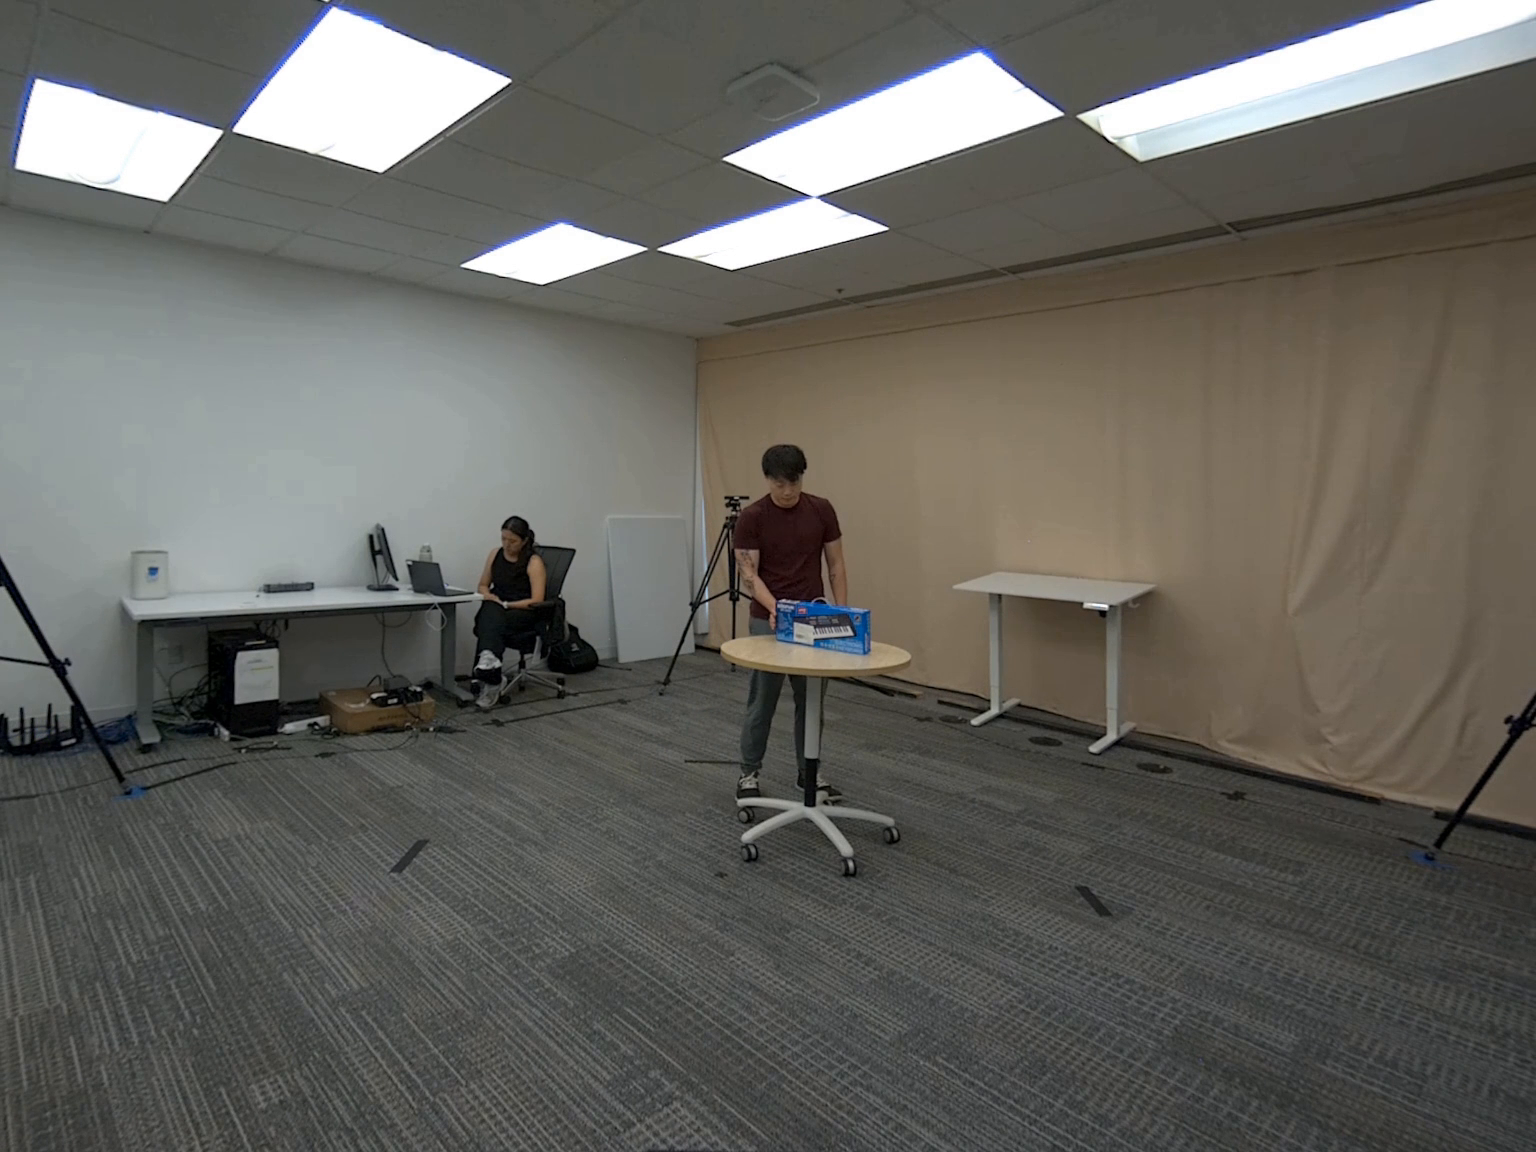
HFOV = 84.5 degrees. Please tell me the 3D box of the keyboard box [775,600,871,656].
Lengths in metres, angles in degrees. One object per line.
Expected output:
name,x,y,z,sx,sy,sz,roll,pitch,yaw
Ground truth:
keyboard box,0.215,0.211,3.494,0.448,0.175,0.058,6,10,39
